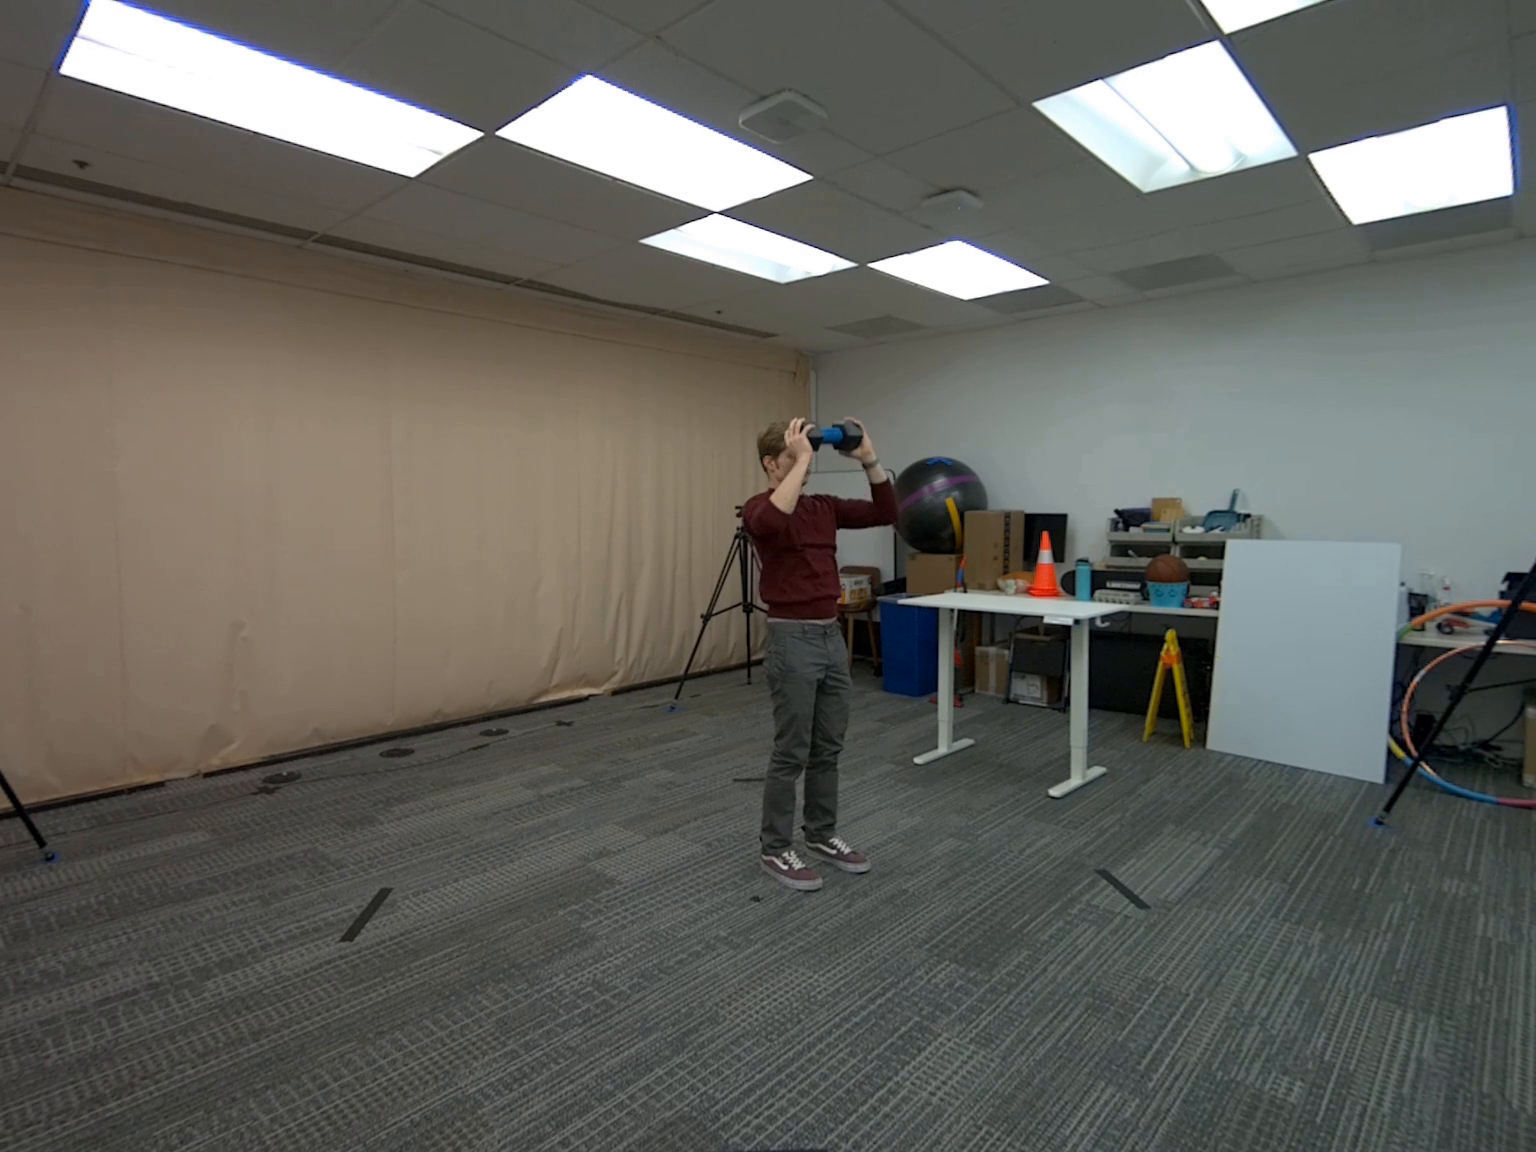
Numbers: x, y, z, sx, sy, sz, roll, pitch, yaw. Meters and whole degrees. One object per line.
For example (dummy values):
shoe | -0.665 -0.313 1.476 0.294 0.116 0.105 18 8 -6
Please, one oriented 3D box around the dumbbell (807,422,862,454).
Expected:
dumbbell | 0.208 -0.514 3.089 0.286 0.124 0.110 -12 -16 -39
